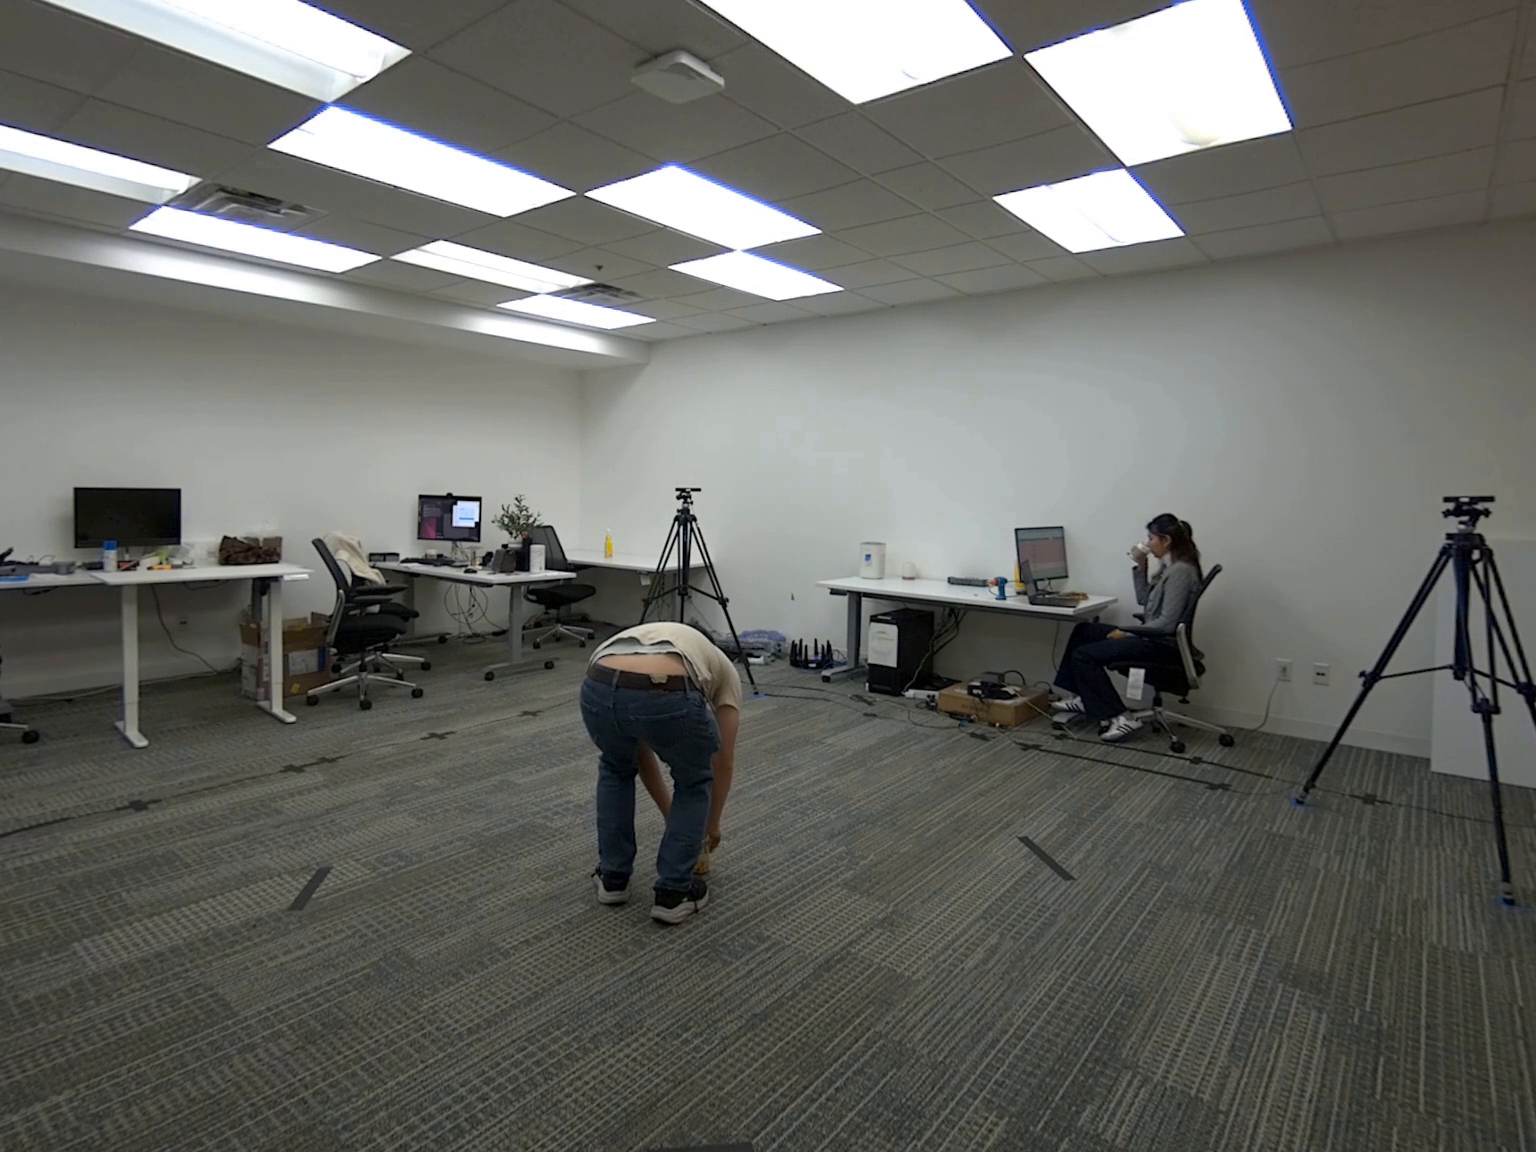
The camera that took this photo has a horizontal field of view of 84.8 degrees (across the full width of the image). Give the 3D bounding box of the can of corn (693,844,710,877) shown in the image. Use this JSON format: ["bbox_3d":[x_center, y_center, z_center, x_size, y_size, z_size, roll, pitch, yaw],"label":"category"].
[{"bbox_3d":[-0.261,1.003,3.092,0.074,0.110,0.075,2,7,-2],"label":"can of corn"}]
